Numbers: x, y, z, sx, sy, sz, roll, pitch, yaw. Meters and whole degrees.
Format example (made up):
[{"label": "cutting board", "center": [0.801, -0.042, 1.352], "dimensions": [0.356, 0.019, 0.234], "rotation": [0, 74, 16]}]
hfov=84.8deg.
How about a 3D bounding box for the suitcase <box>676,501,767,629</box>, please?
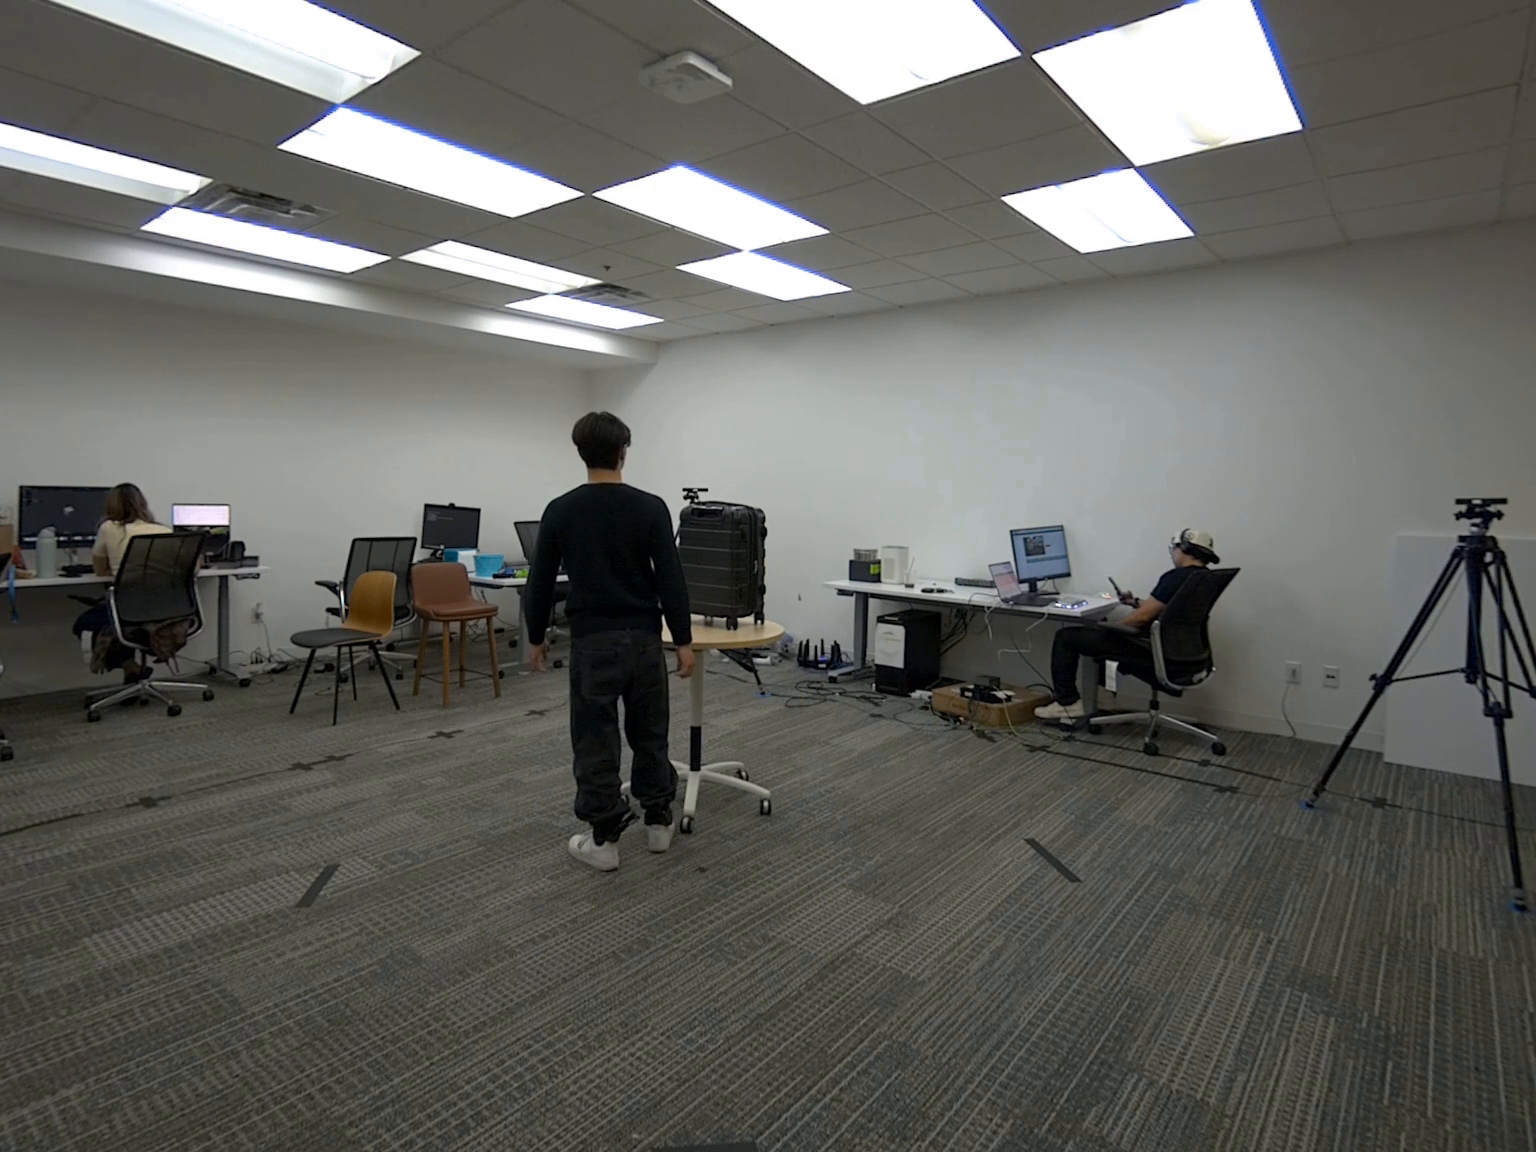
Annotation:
[{"label": "suitcase", "center": [-0.225, -0.064, 3.843], "dimensions": [0.387, 0.547, 0.241], "rotation": [4, 5, 35]}]
